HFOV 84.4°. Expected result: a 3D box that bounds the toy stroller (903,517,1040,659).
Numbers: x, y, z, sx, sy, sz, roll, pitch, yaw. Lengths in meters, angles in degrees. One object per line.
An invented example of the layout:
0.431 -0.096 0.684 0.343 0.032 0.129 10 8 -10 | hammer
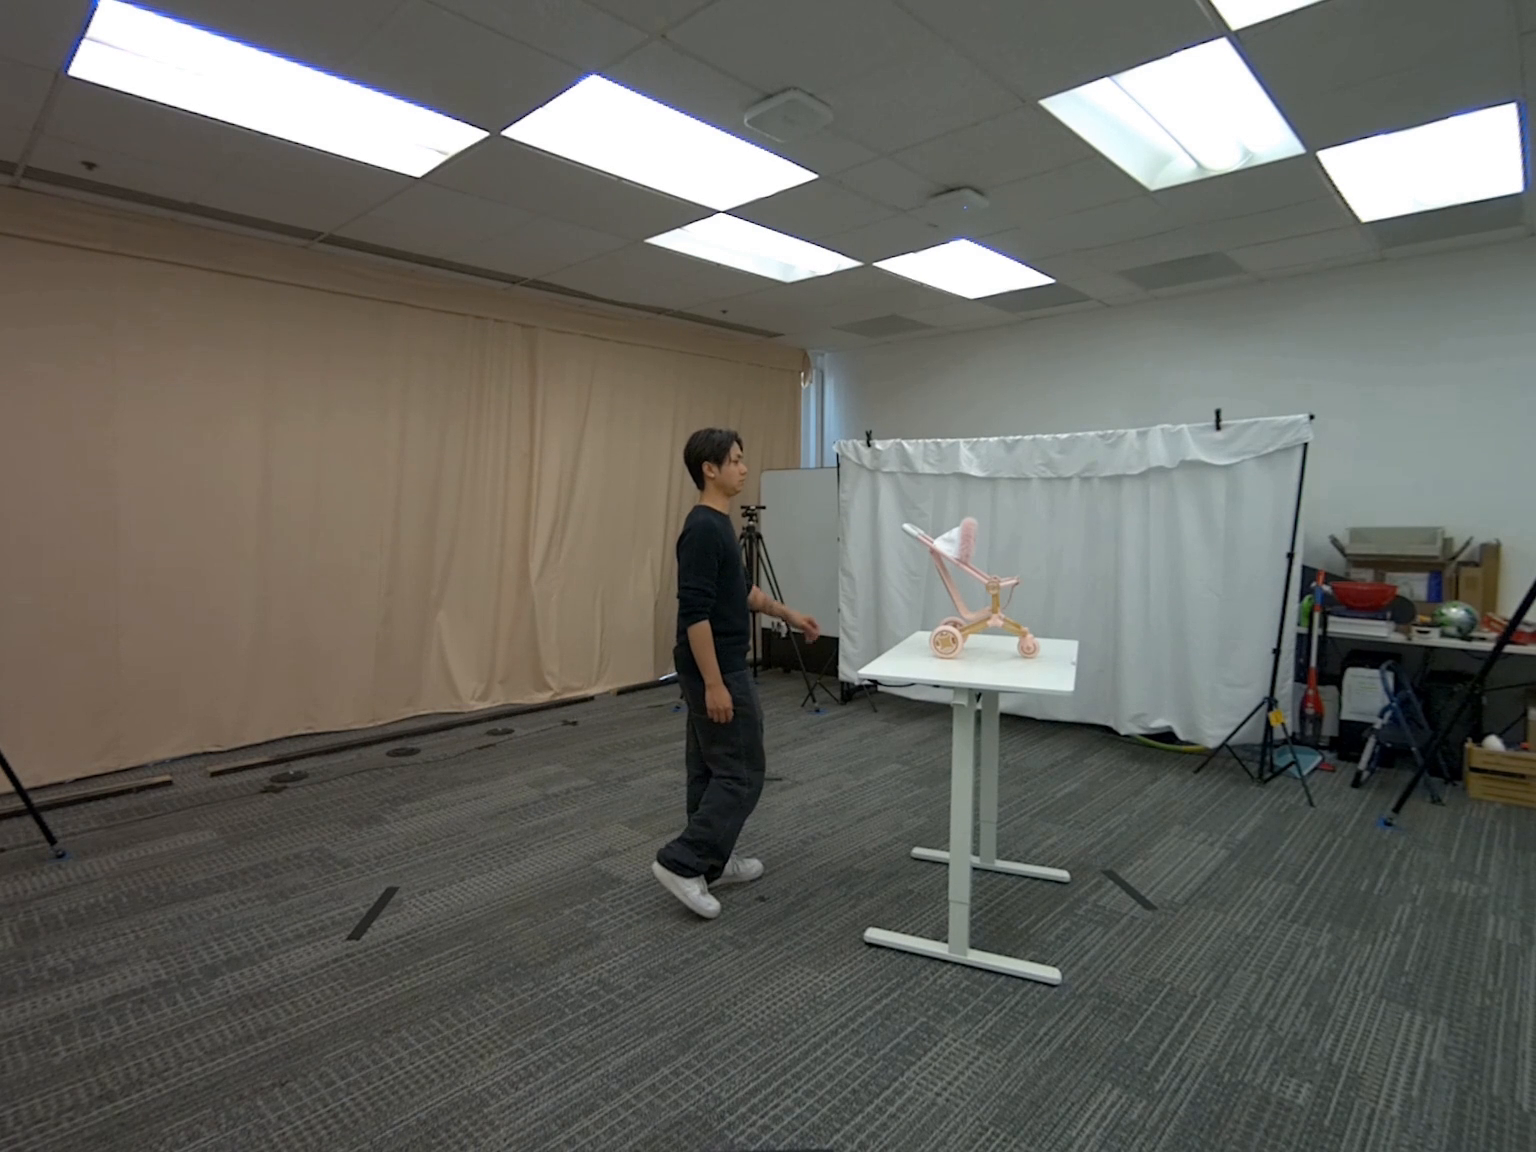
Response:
0.702 0.044 2.861 0.348 0.536 0.275 -14 -3 24 | toy stroller
